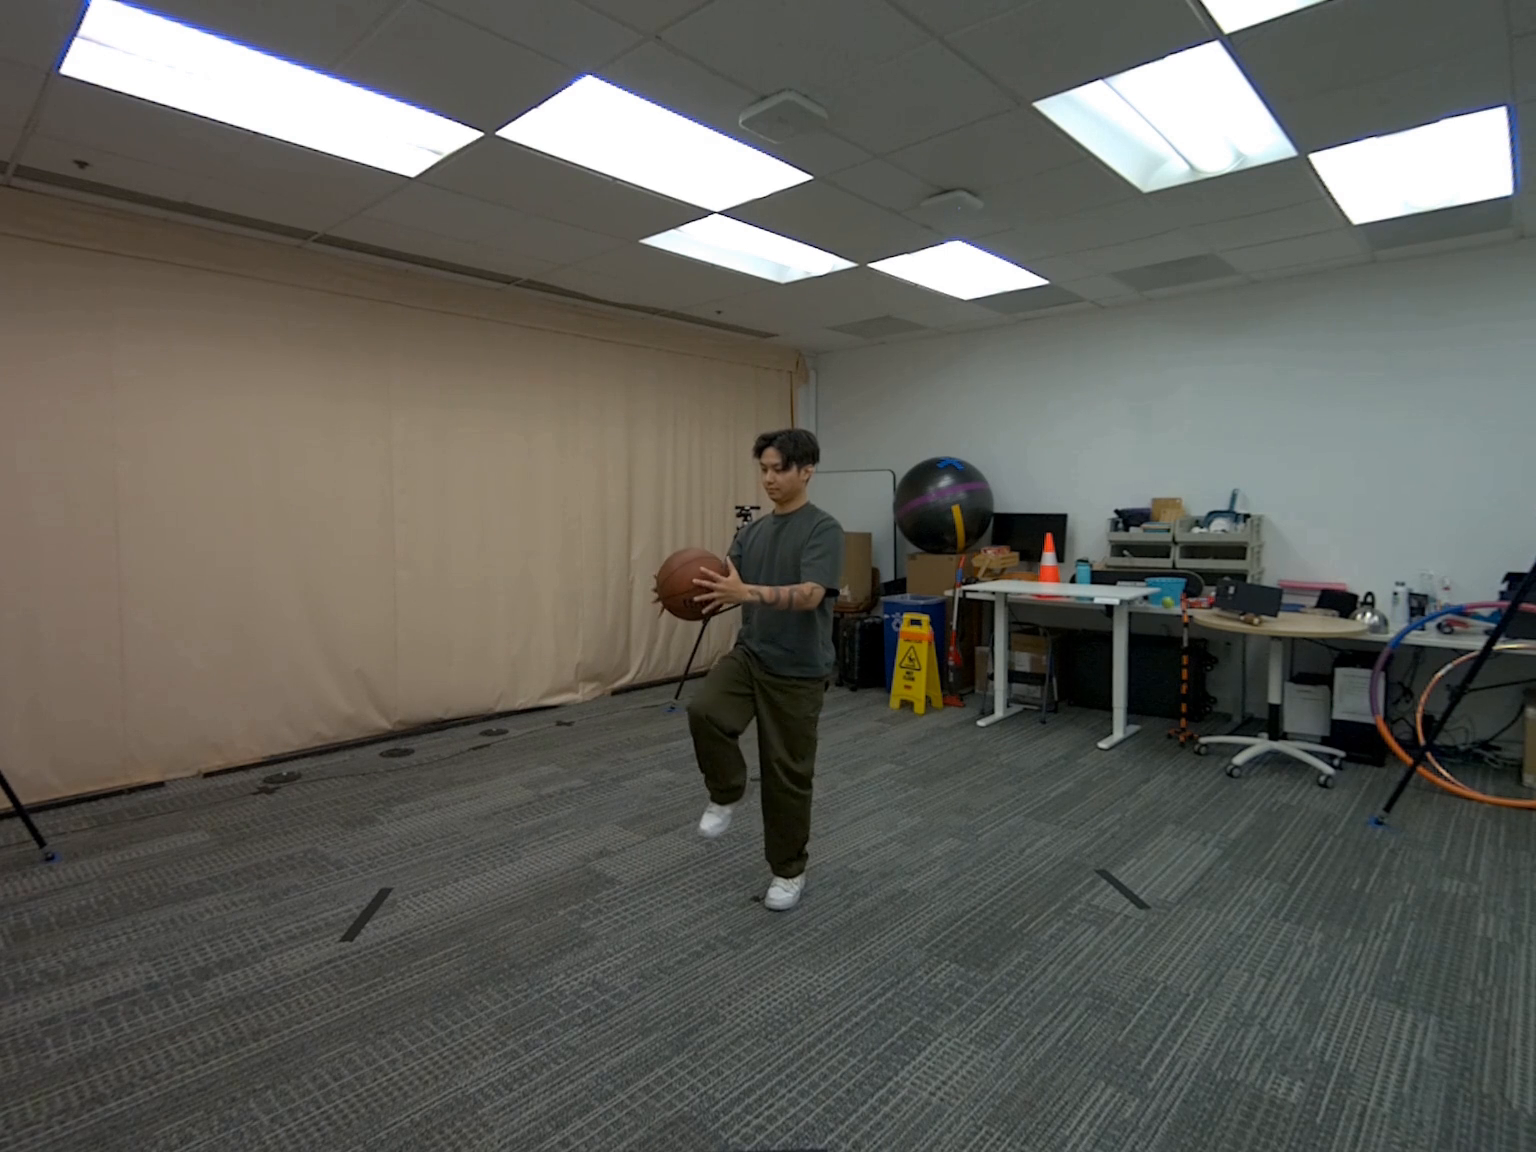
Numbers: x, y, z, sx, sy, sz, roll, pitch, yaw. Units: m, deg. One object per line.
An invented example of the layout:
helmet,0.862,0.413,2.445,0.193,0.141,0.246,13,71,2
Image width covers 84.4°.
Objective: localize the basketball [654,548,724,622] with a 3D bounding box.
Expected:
basketball,-0.247,0.028,2.750,0.236,0.235,0.237,0,4,-2
